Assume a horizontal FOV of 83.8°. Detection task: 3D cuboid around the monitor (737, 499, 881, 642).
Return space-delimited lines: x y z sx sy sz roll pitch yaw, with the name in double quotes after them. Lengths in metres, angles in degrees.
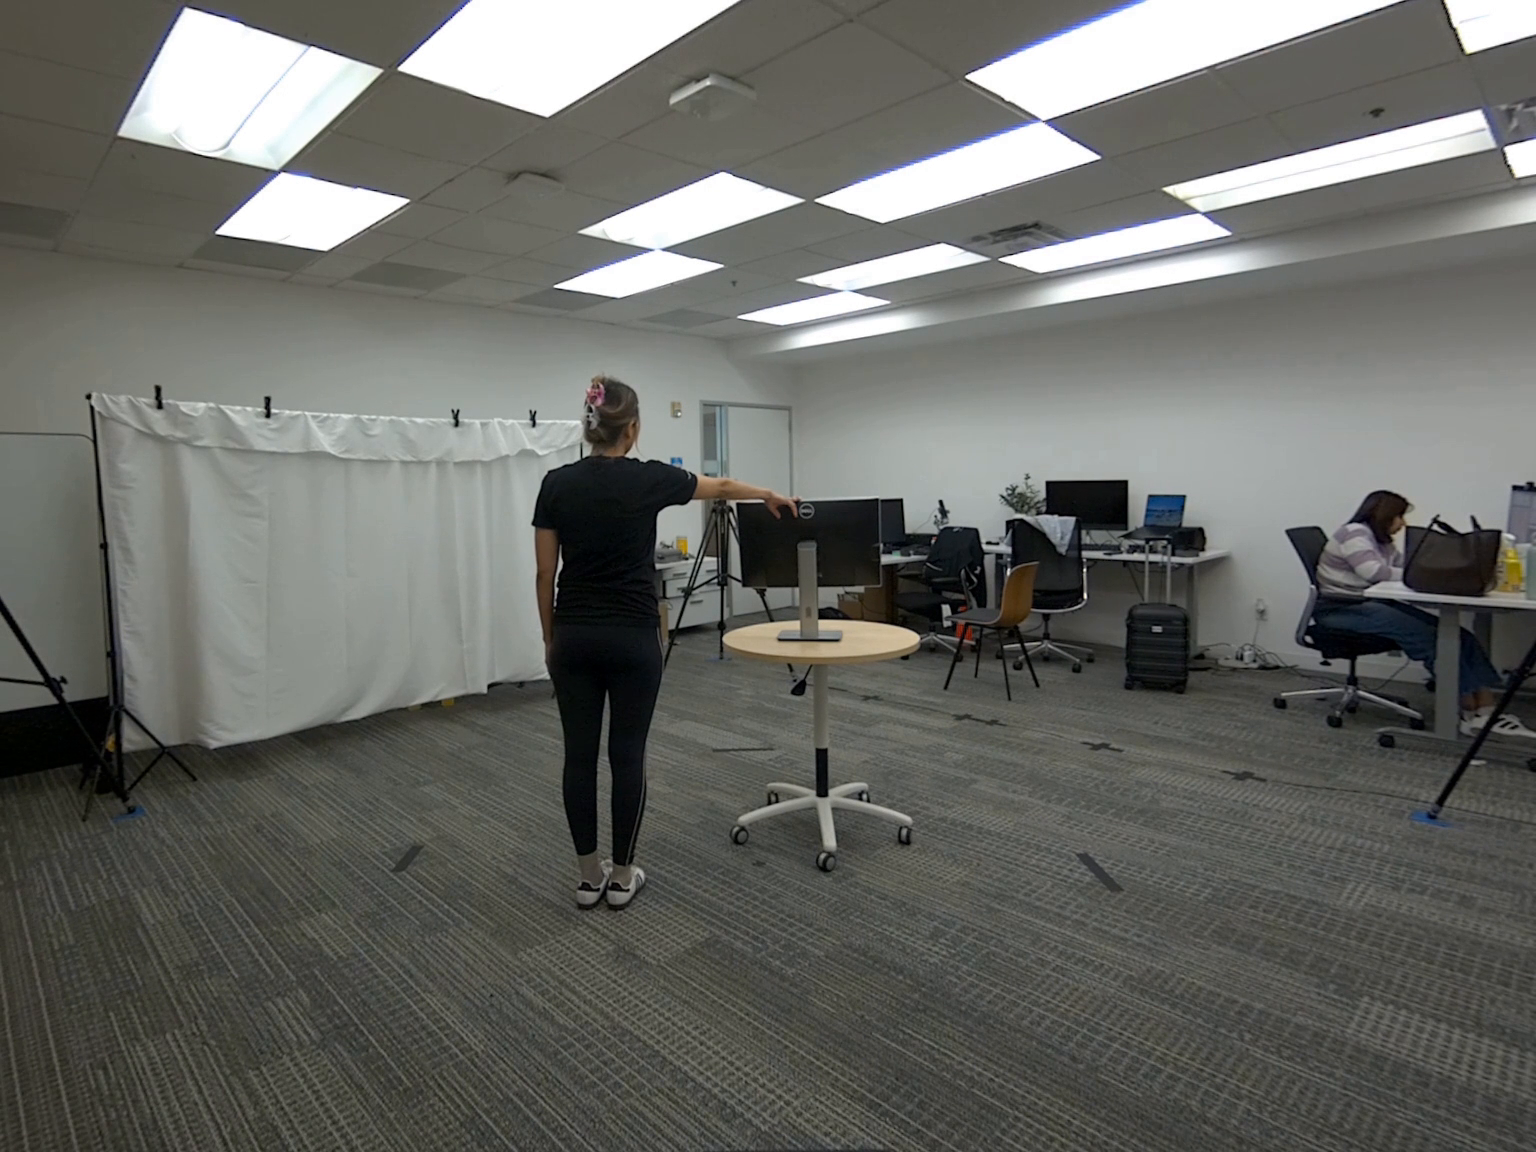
0.157 -0.023 3.328 0.543 0.520 0.186 -1 4 8 "monitor"
